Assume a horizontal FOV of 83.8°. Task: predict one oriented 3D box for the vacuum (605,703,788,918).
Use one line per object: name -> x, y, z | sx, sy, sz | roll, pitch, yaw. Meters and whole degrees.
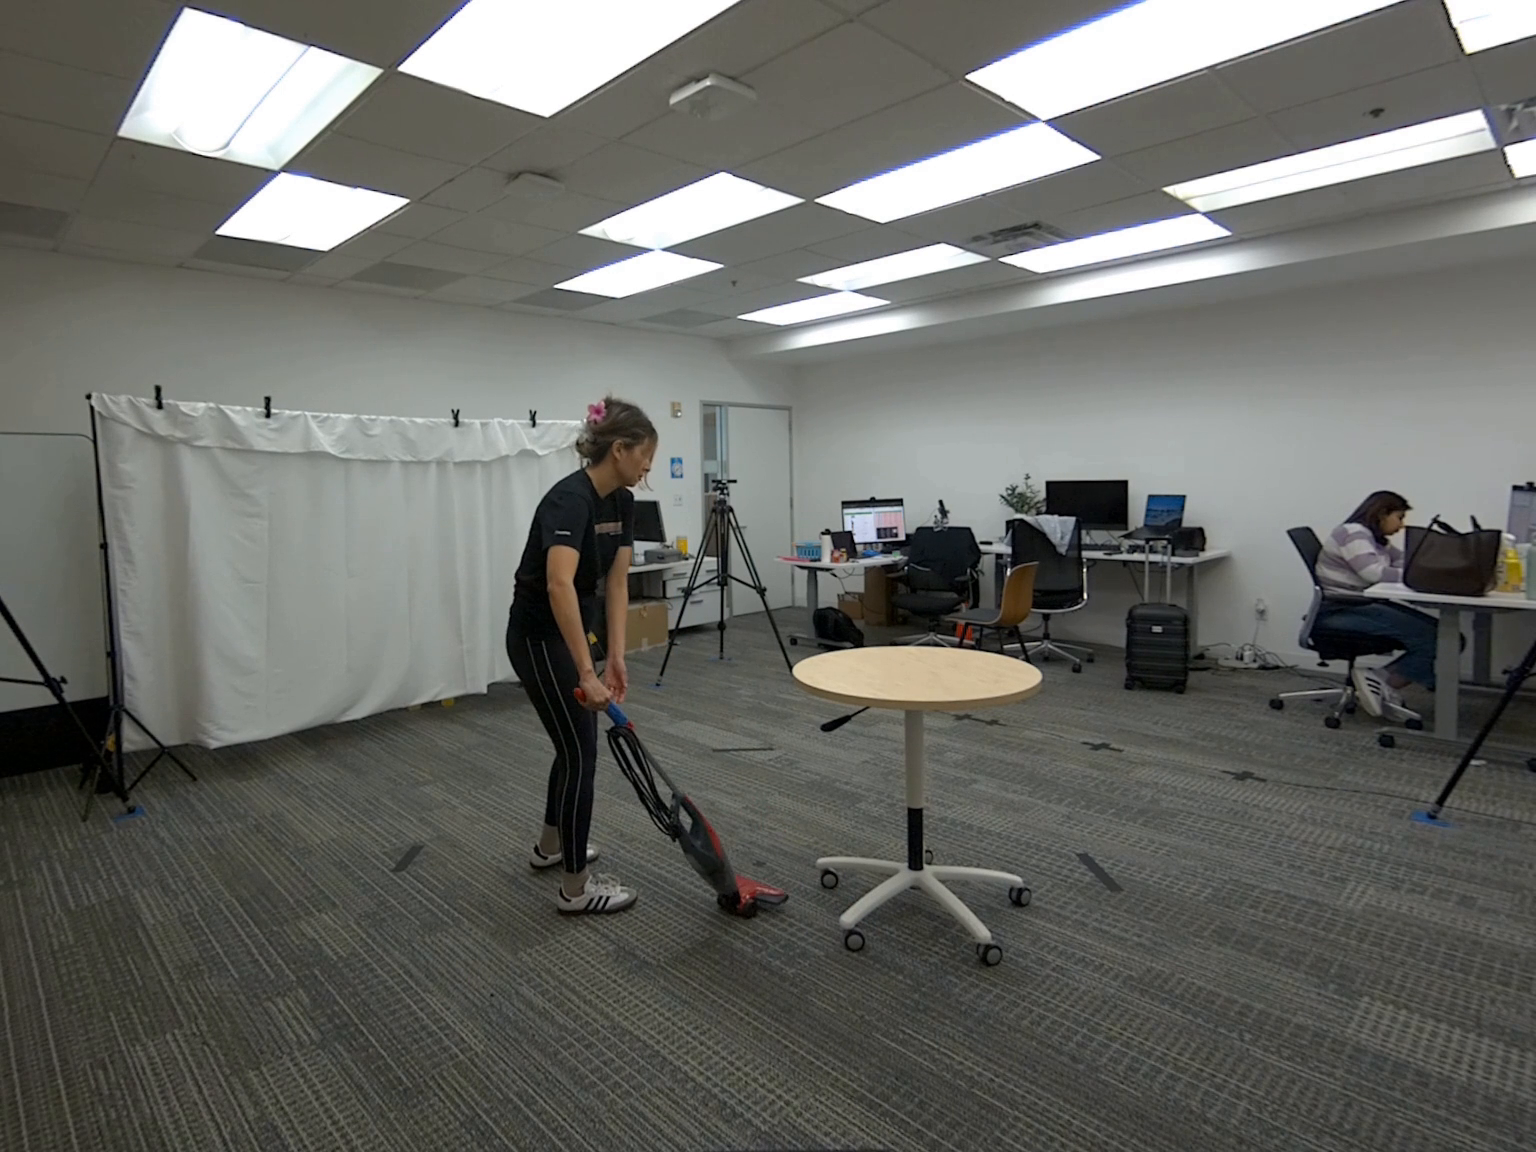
vacuum -> -0.288, 0.688, 2.547 | 0.260, 1.015, 0.144 | 4, 44, 44
